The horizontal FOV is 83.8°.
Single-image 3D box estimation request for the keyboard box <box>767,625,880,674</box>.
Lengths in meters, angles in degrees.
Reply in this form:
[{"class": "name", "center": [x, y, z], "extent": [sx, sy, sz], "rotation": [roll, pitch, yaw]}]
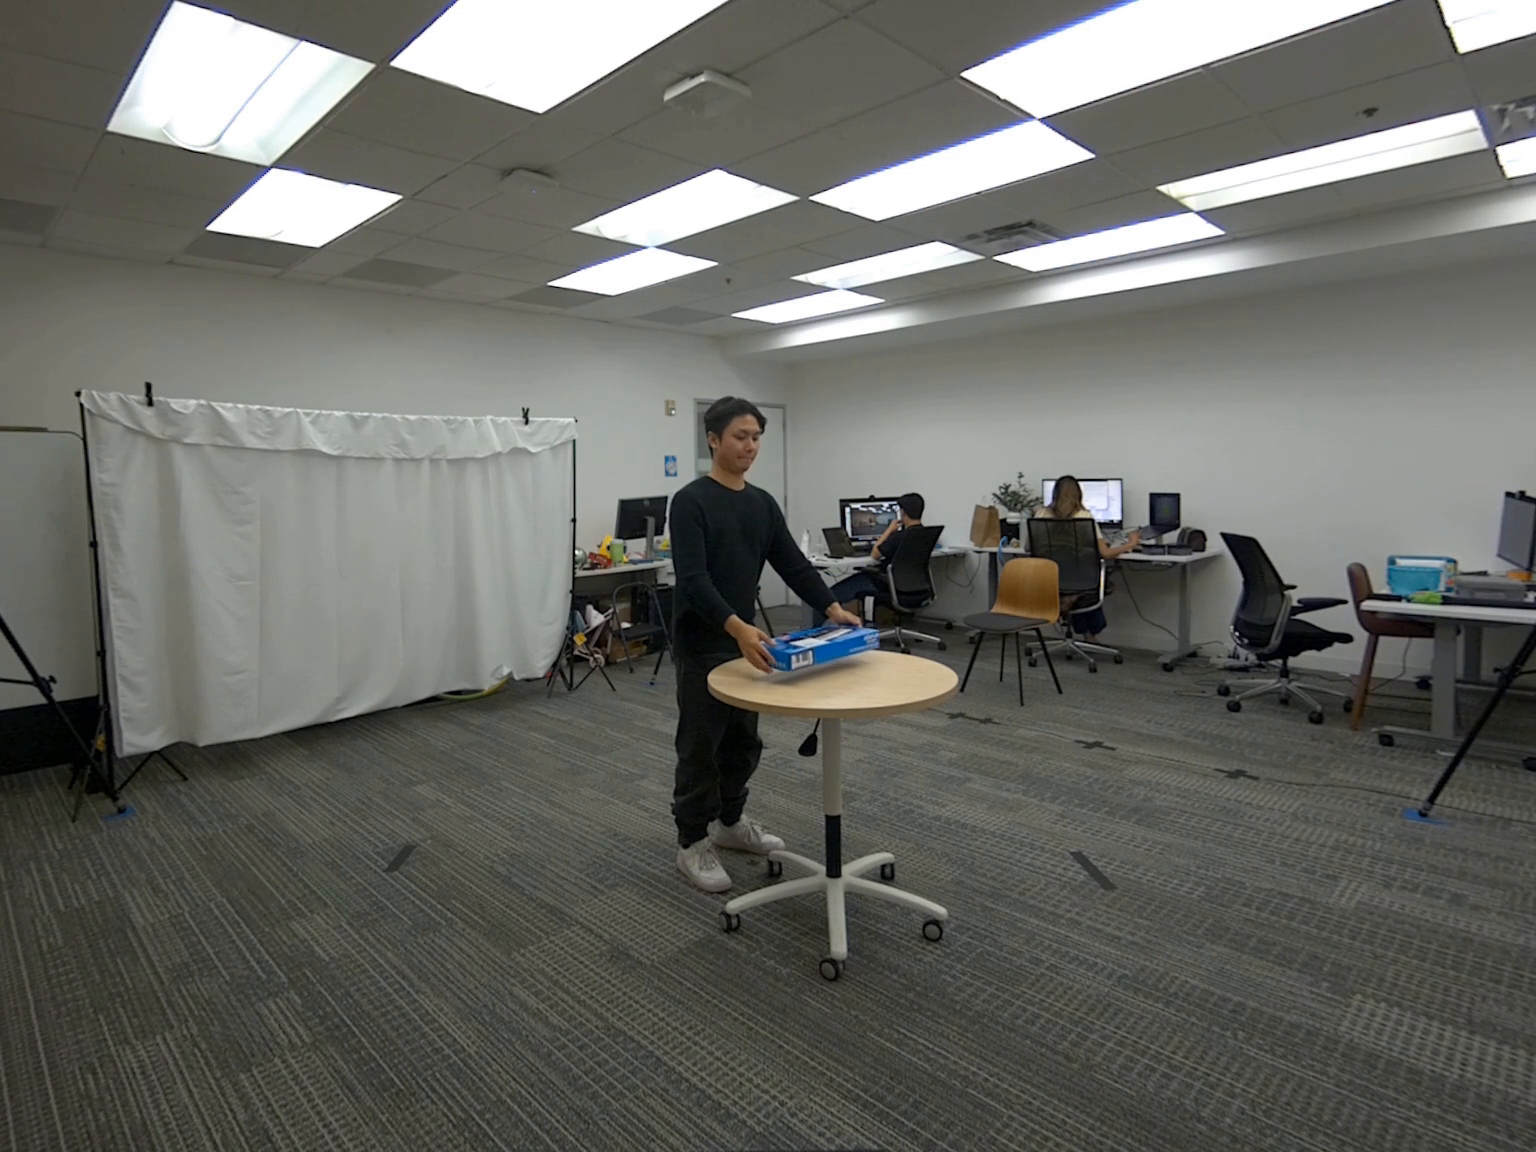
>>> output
[{"class": "keyboard box", "center": [0.153, 0.222, 2.713], "extent": [0.181, 0.059, 0.426], "rotation": [7, 12, 41]}]
